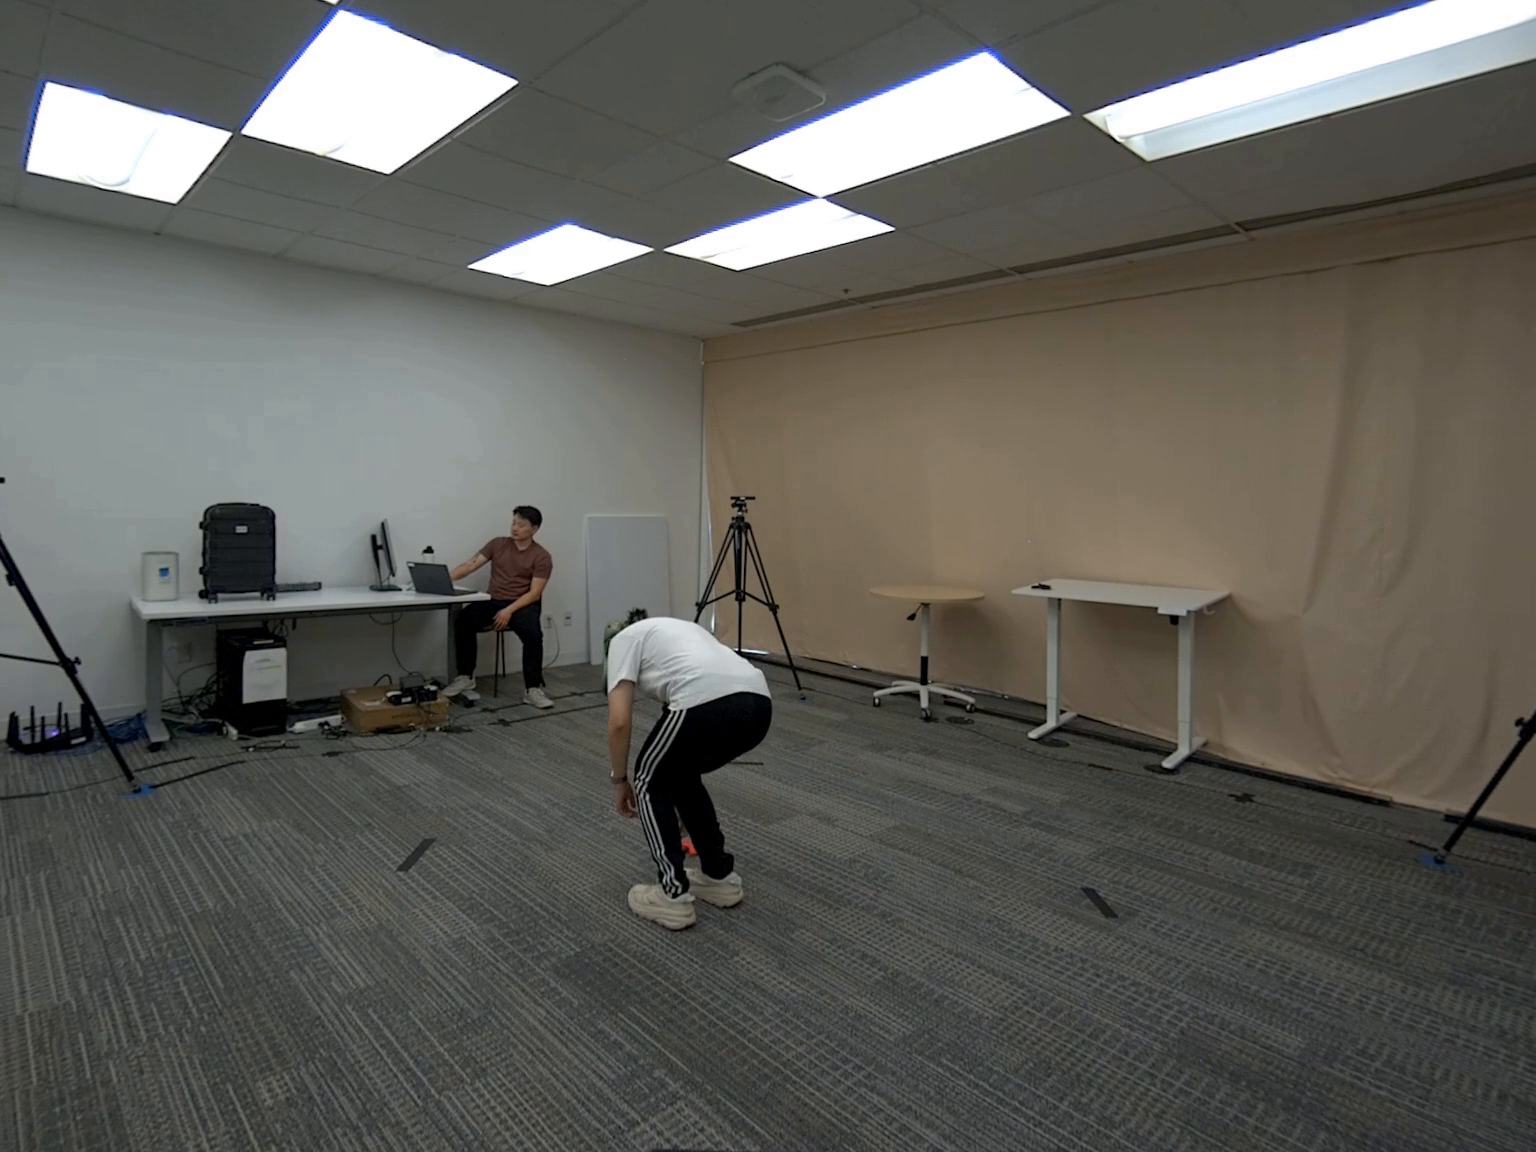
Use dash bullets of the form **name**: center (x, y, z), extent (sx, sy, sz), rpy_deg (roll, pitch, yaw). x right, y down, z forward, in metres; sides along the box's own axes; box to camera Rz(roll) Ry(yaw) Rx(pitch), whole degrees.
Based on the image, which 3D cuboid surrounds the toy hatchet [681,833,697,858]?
- **toy hatchet**: center (-0.333, 1.087, 3.212), extent (0.132, 0.029, 0.270), rpy_deg (7, 9, 5)
